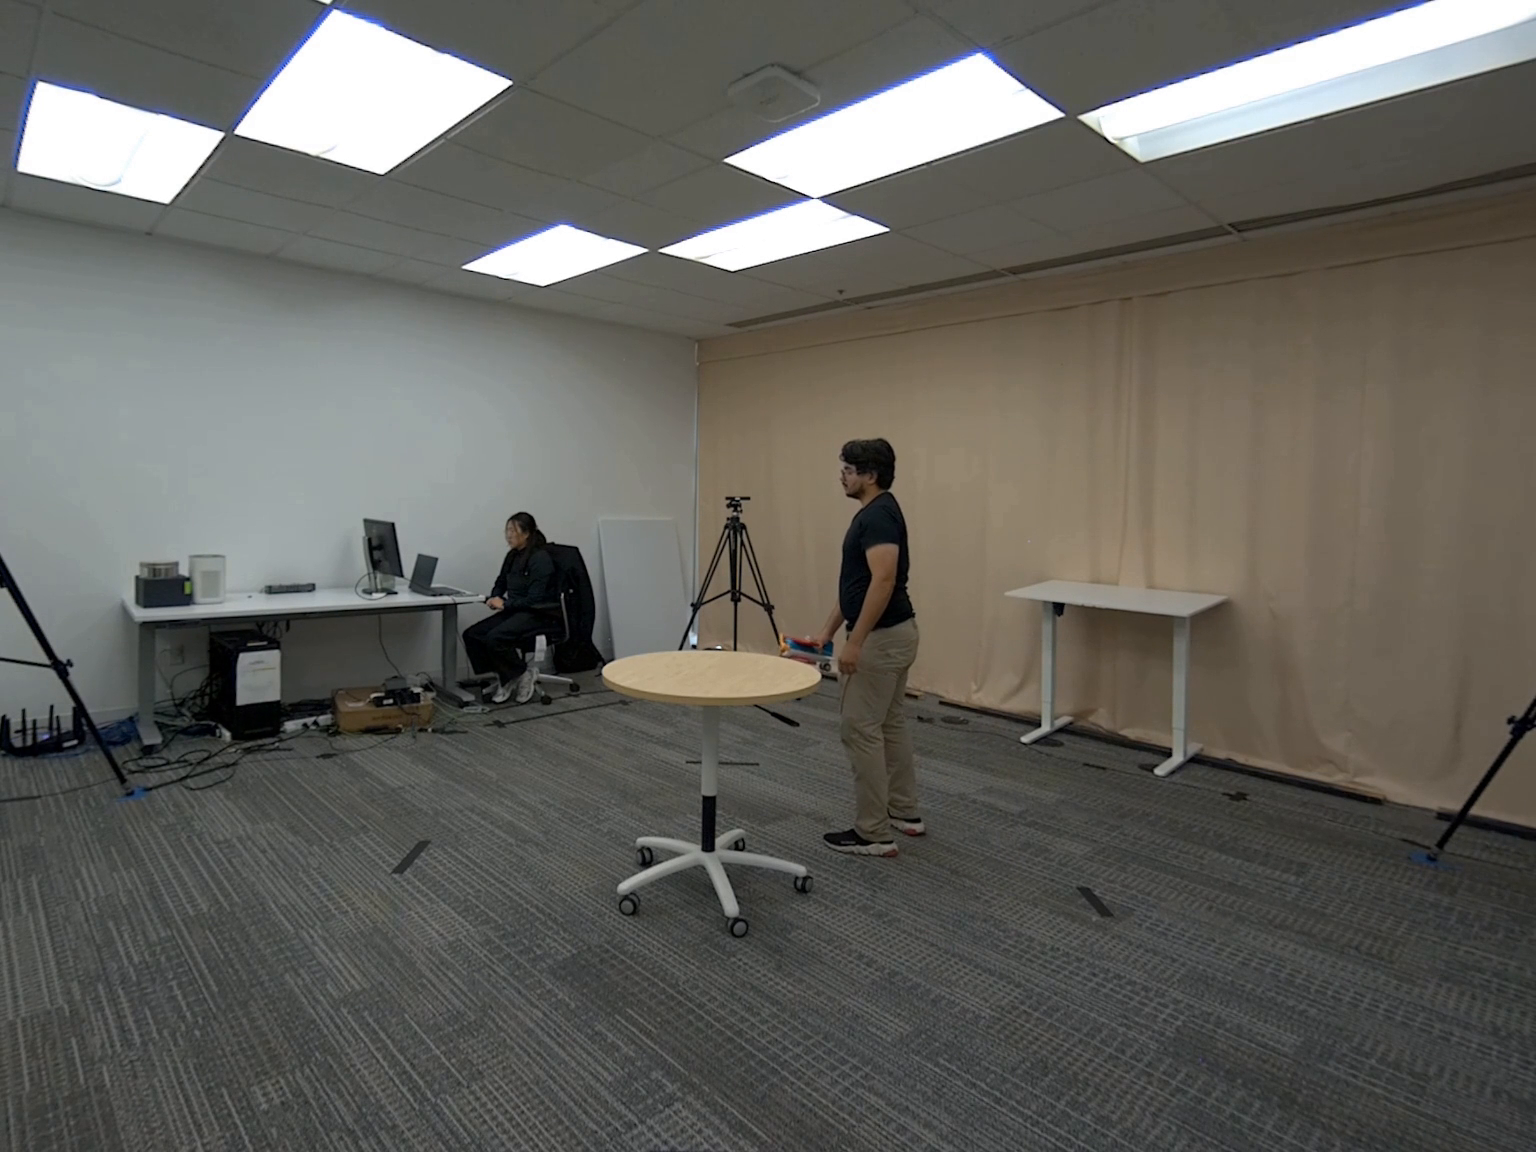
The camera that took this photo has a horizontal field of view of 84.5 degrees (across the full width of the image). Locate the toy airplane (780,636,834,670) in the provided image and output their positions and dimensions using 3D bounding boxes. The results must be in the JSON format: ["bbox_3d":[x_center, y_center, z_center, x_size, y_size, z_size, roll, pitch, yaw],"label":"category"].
[{"bbox_3d":[0.153,0.337,3.648,0.257,0.156,0.253,-2,1,43],"label":"toy airplane"}]
